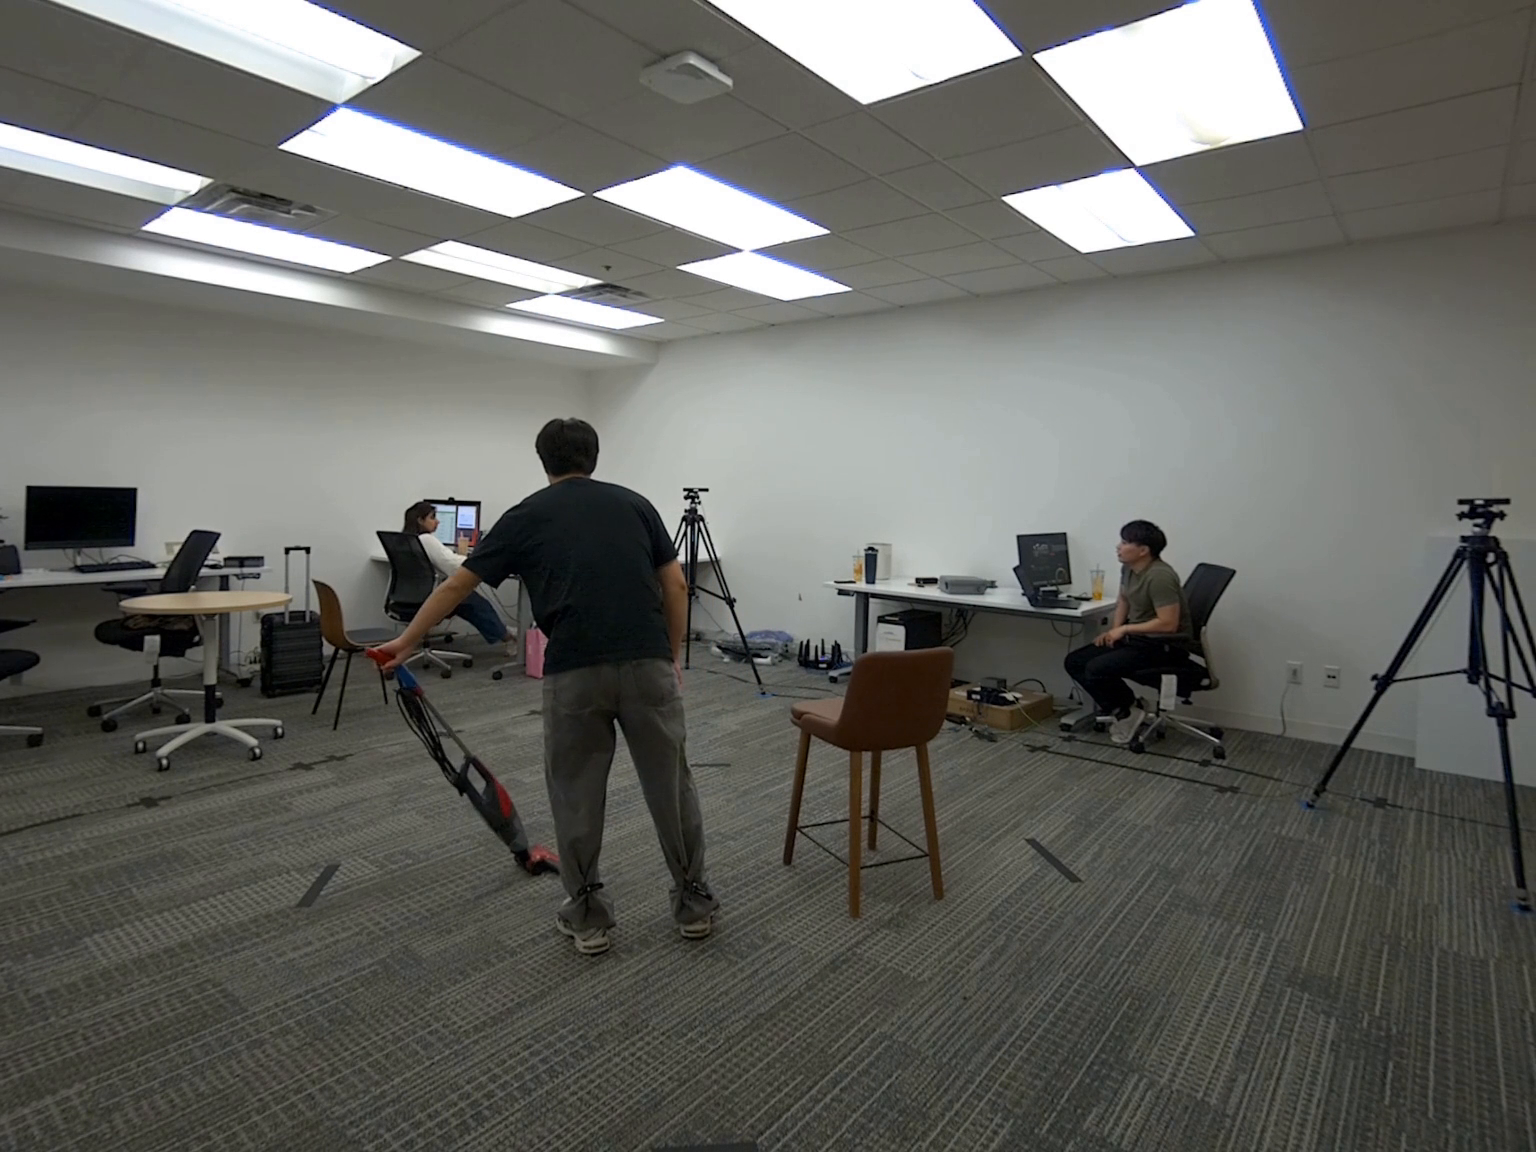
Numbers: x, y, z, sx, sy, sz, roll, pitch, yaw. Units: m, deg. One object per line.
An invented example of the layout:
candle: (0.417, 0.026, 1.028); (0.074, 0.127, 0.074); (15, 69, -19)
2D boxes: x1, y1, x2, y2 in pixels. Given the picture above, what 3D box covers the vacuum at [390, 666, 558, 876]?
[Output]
vacuum: (-1.044, 0.649, 2.892); (0.261, 1.015, 0.144); (2, 39, 42)
